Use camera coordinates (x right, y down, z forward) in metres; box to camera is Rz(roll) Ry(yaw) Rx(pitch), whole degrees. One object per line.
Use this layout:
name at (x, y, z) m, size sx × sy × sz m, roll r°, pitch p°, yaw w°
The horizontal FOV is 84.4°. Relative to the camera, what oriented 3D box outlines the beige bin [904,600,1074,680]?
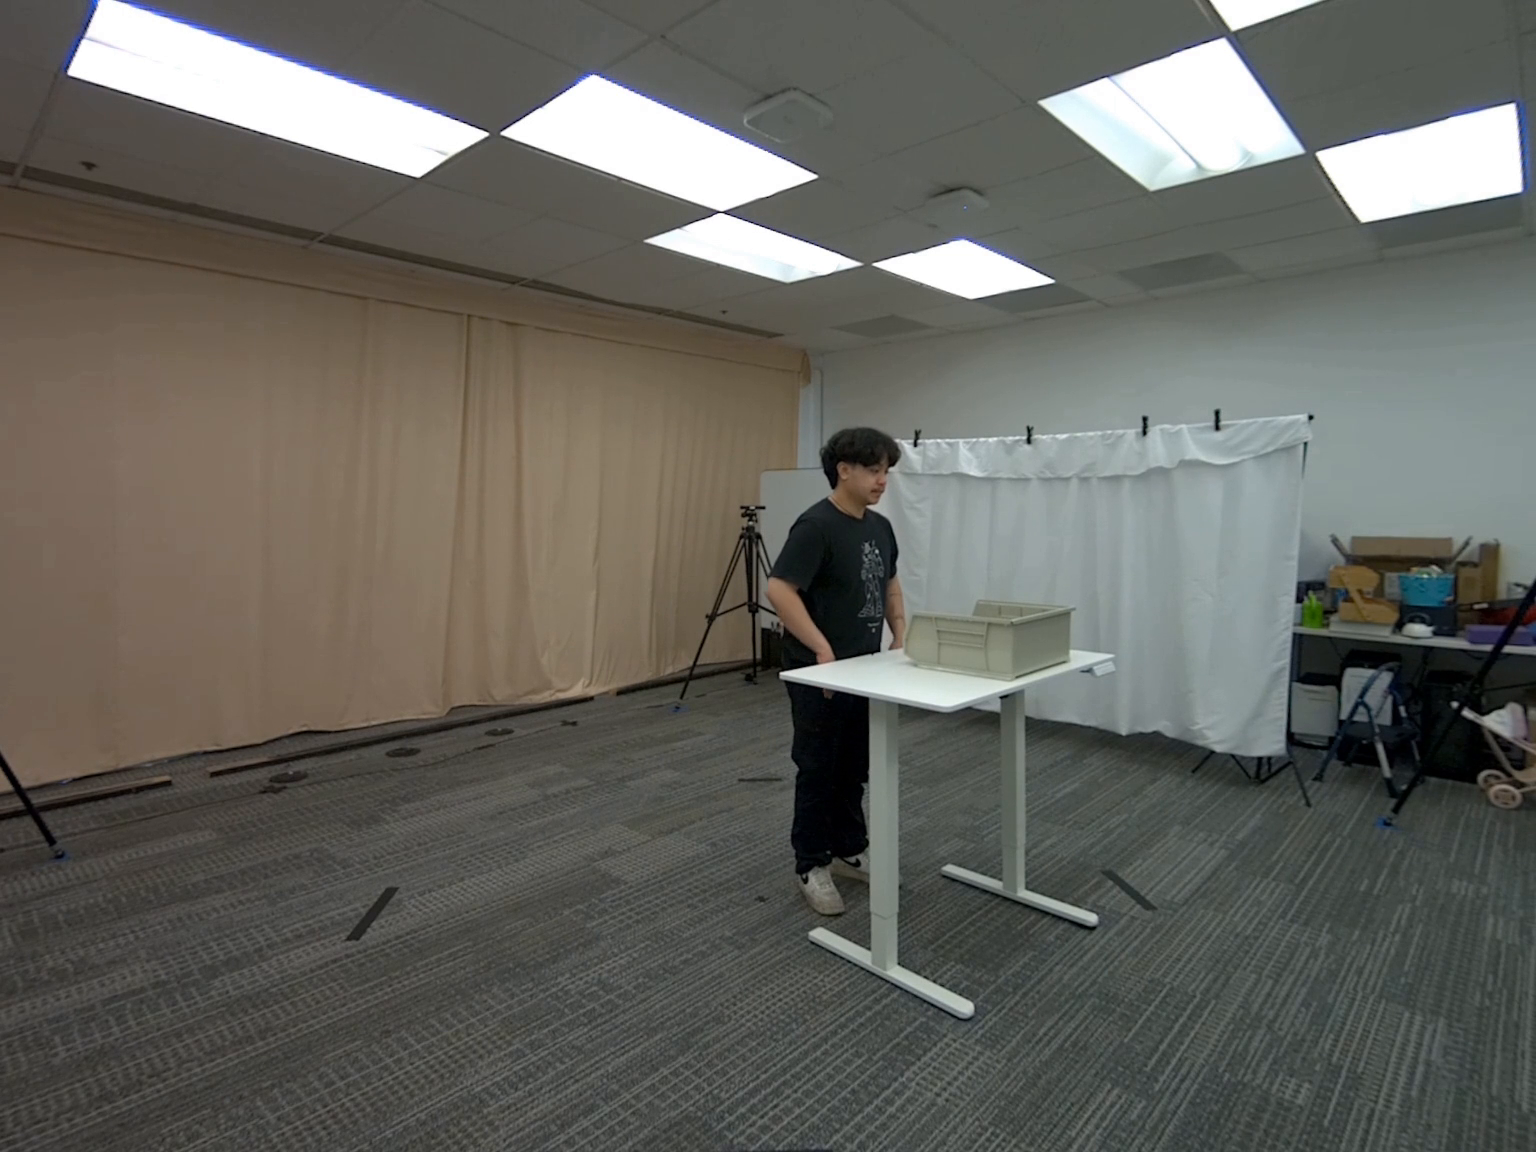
beige bin at (0.706, 0.197, 2.689) m, size 0.390 × 0.188 × 0.409 m, roll 4°, pitch 7°, yaw 45°
